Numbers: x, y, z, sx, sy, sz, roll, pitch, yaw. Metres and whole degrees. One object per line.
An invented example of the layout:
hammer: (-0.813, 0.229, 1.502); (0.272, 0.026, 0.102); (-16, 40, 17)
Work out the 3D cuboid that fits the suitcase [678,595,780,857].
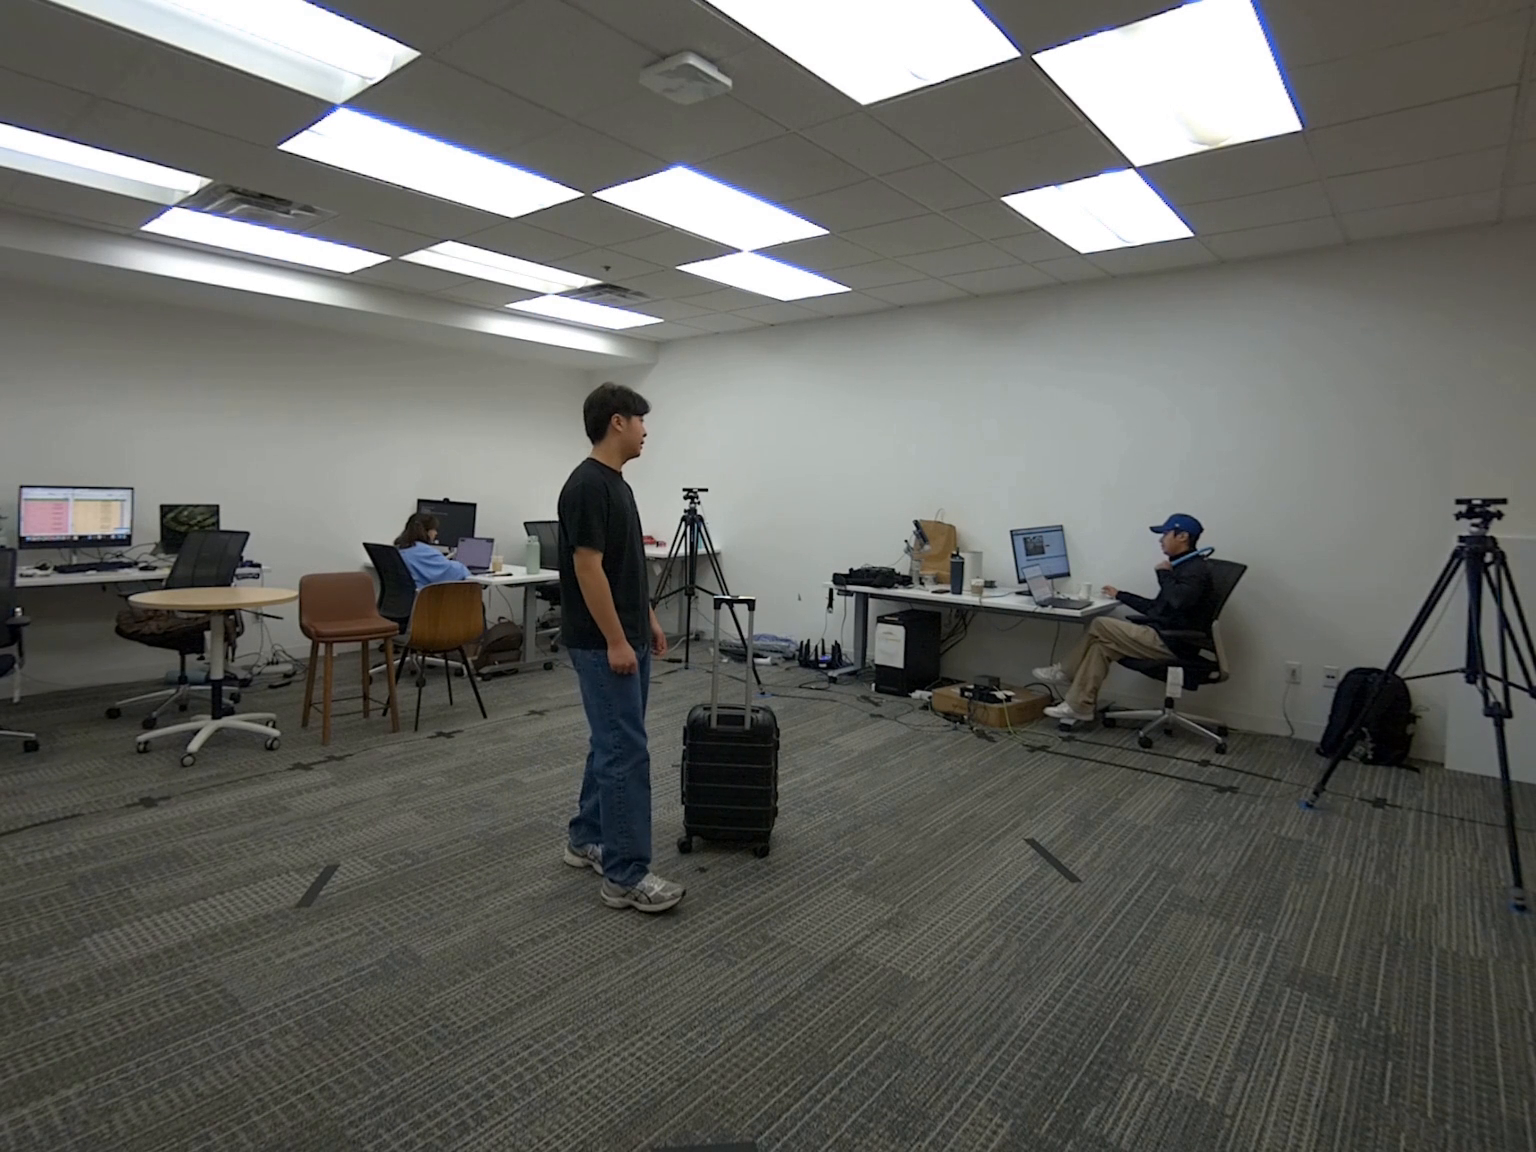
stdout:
suitcase: (-0.149, 0.568, 3.353); (0.385, 0.978, 0.256); (3, 1, 3)
